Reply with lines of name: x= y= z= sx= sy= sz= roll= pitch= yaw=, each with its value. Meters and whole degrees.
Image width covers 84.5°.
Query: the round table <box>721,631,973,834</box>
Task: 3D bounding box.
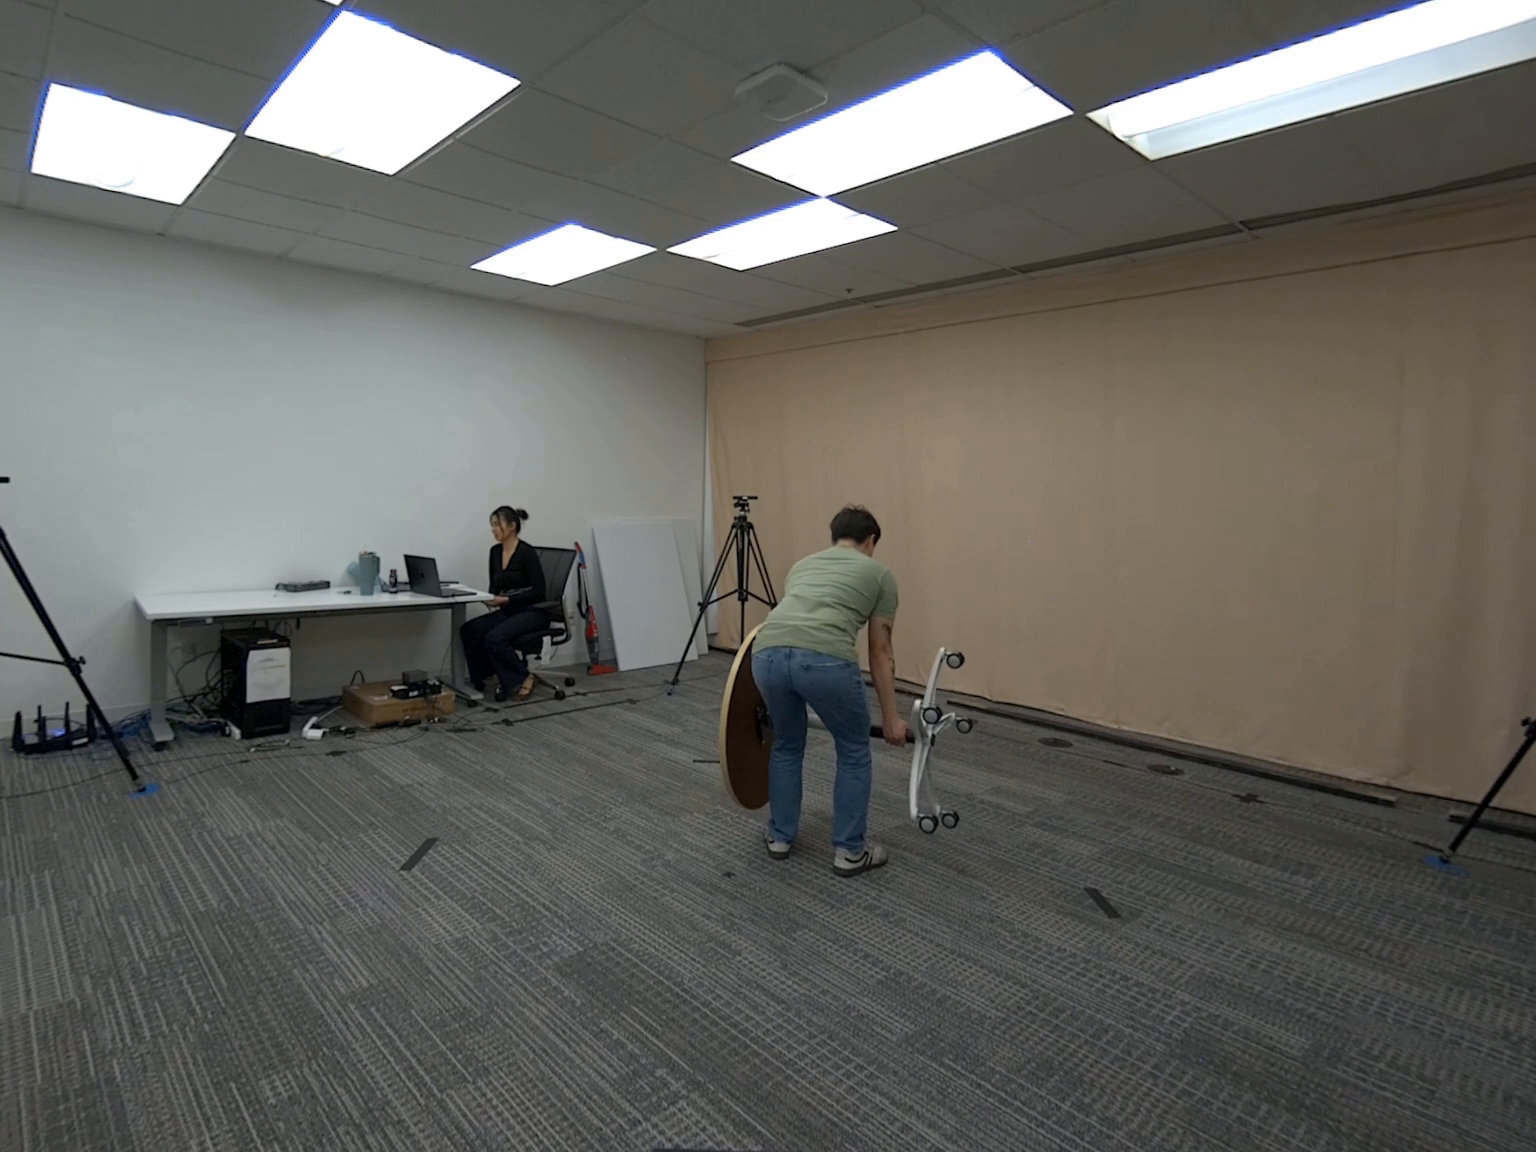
round table: x=0.333 y=0.607 z=3.325 sx=0.810 sy=0.762 sz=0.751 roll=4 pitch=5 yaw=25
